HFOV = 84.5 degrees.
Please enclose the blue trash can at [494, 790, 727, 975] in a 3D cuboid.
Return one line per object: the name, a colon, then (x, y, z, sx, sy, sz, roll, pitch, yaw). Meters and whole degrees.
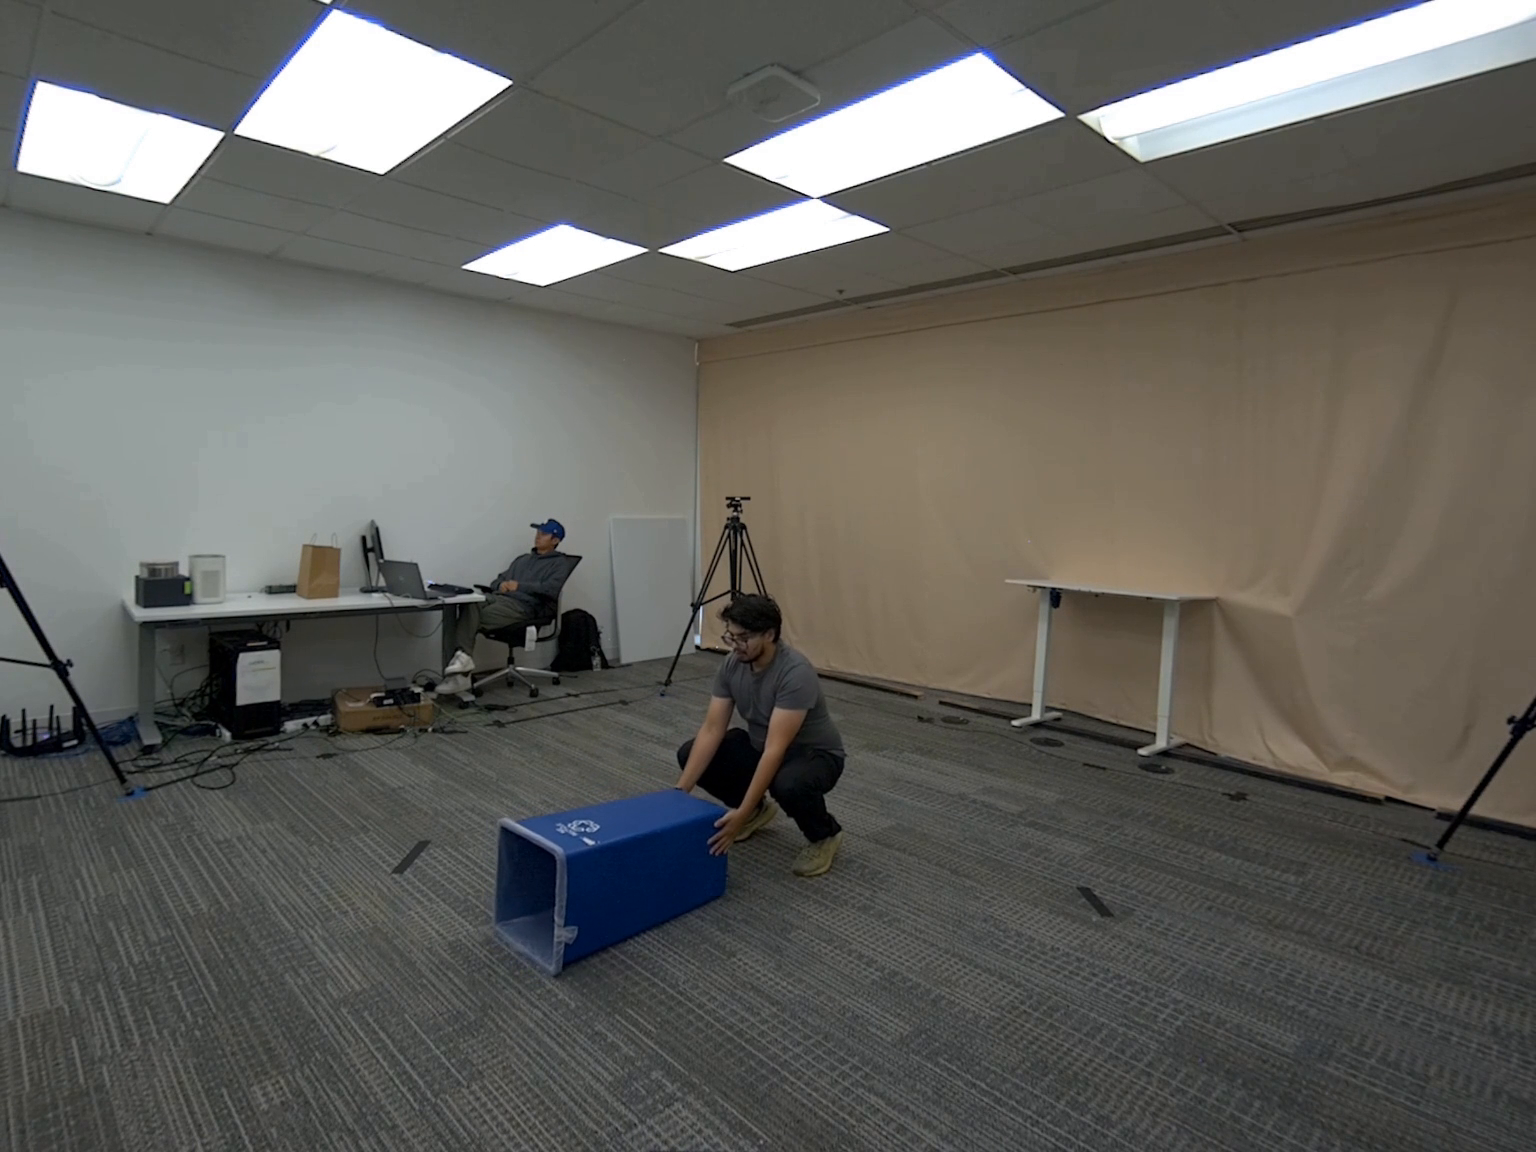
blue trash can: (-0.502, 0.959, 2.786, 0.383, 0.377, 0.696, 5, 3, 43)
